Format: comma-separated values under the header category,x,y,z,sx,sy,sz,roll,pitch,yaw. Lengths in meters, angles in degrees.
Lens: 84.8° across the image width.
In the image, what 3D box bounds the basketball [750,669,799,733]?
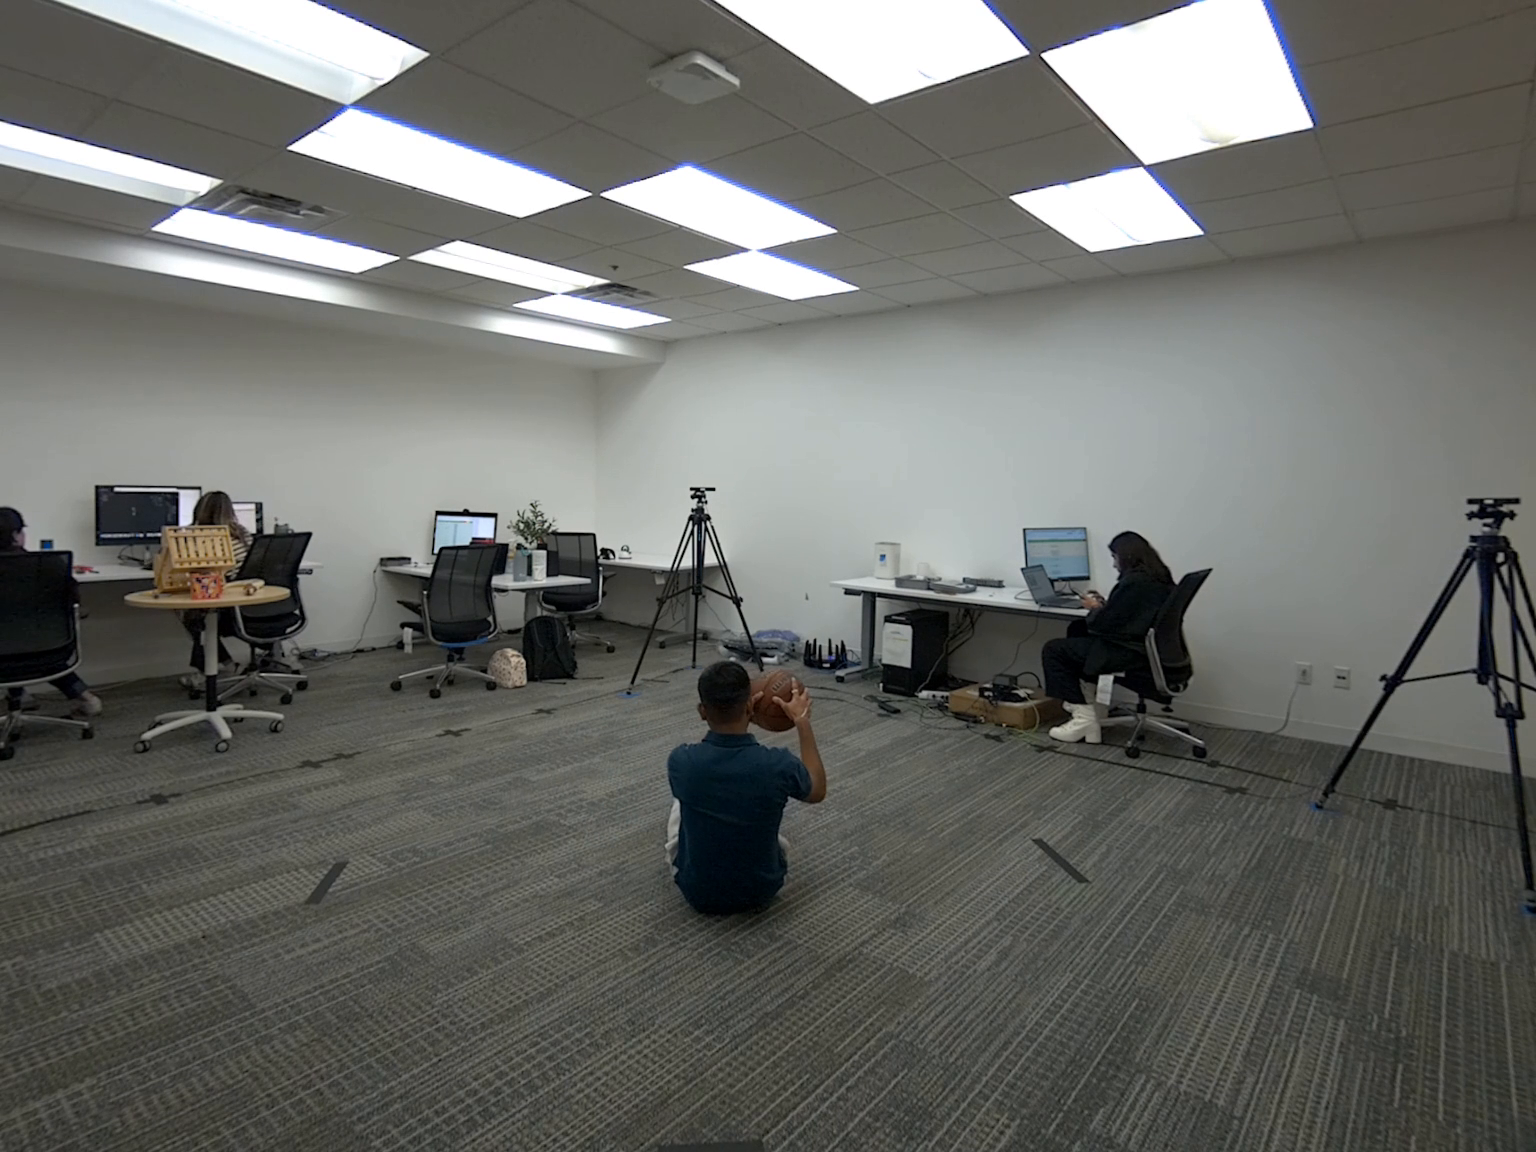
category,x,y,z,sx,sy,sz,roll,pitch,yaw
basketball,0.016,0.469,3.249,0.235,0.235,0.237,1,4,-2
